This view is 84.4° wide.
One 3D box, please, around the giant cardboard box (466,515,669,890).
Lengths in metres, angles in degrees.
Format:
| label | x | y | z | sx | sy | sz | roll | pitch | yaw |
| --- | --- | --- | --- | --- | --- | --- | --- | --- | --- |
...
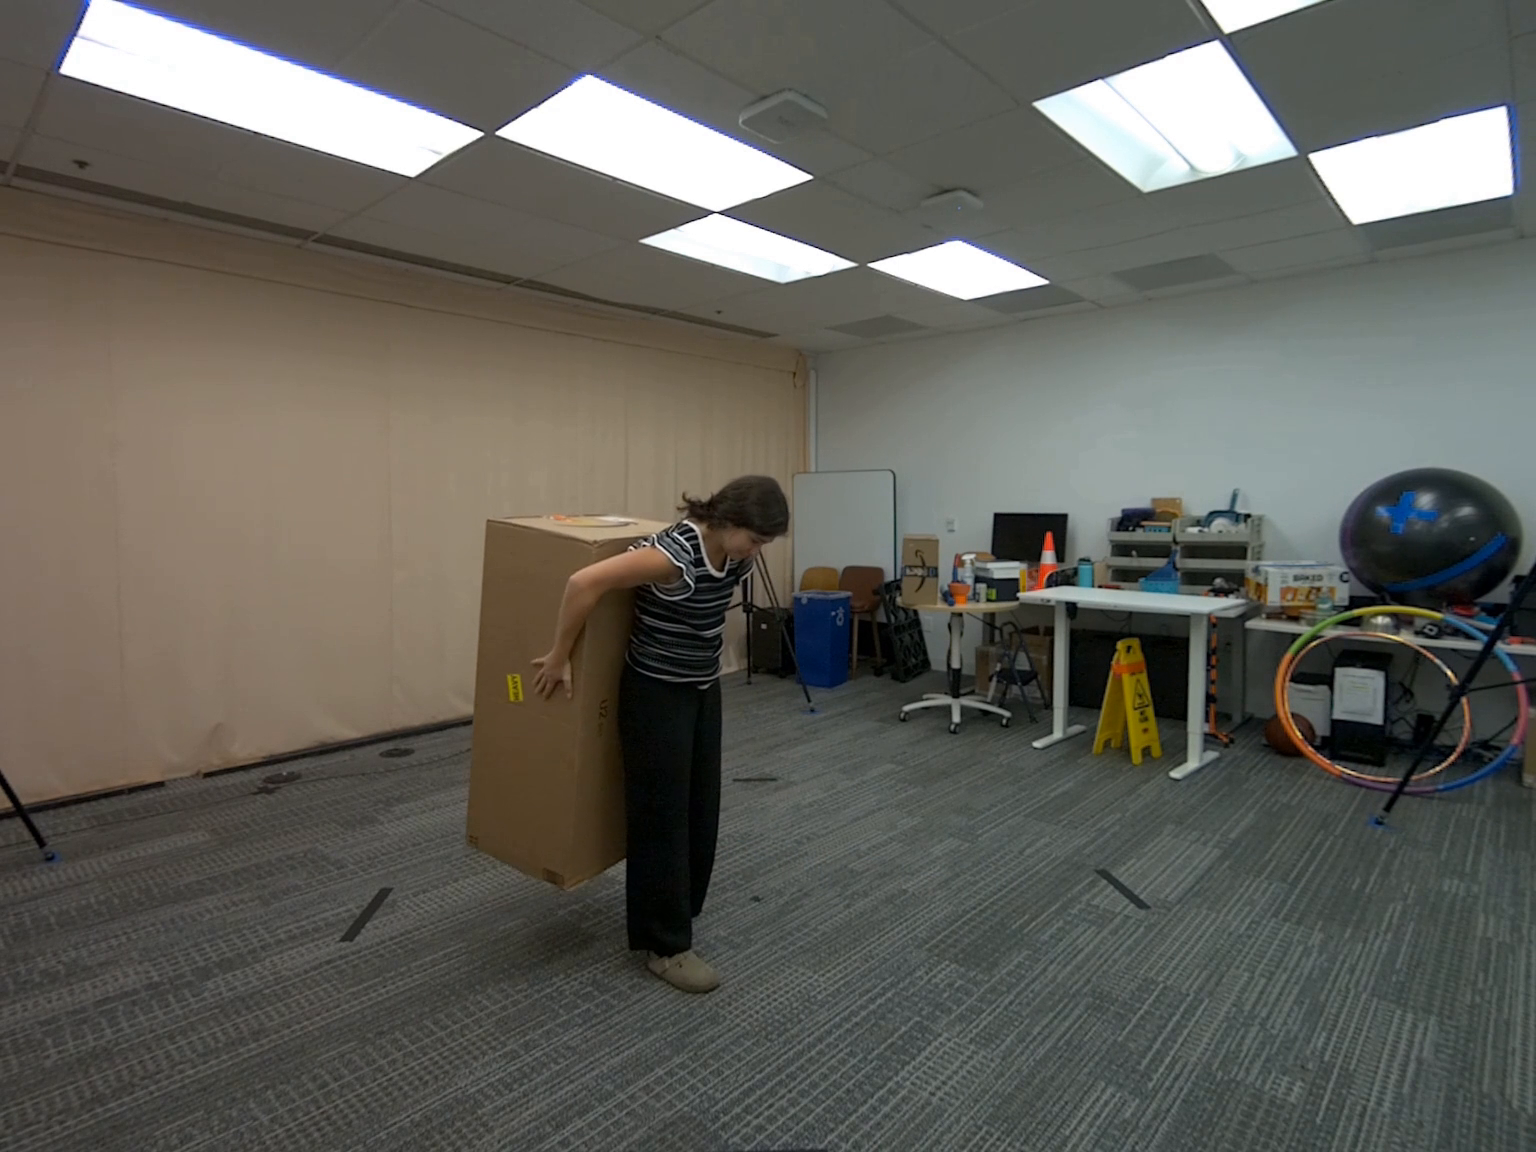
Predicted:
| label | x | y | z | sx | sy | sz | roll | pitch | yaw |
| --- | --- | --- | --- | --- | --- | --- | --- | --- | --- |
| giant cardboard box | -0.569 | 0.345 | 2.679 | 0.439 | 1.021 | 0.562 | 11 | 9 | 29 |
